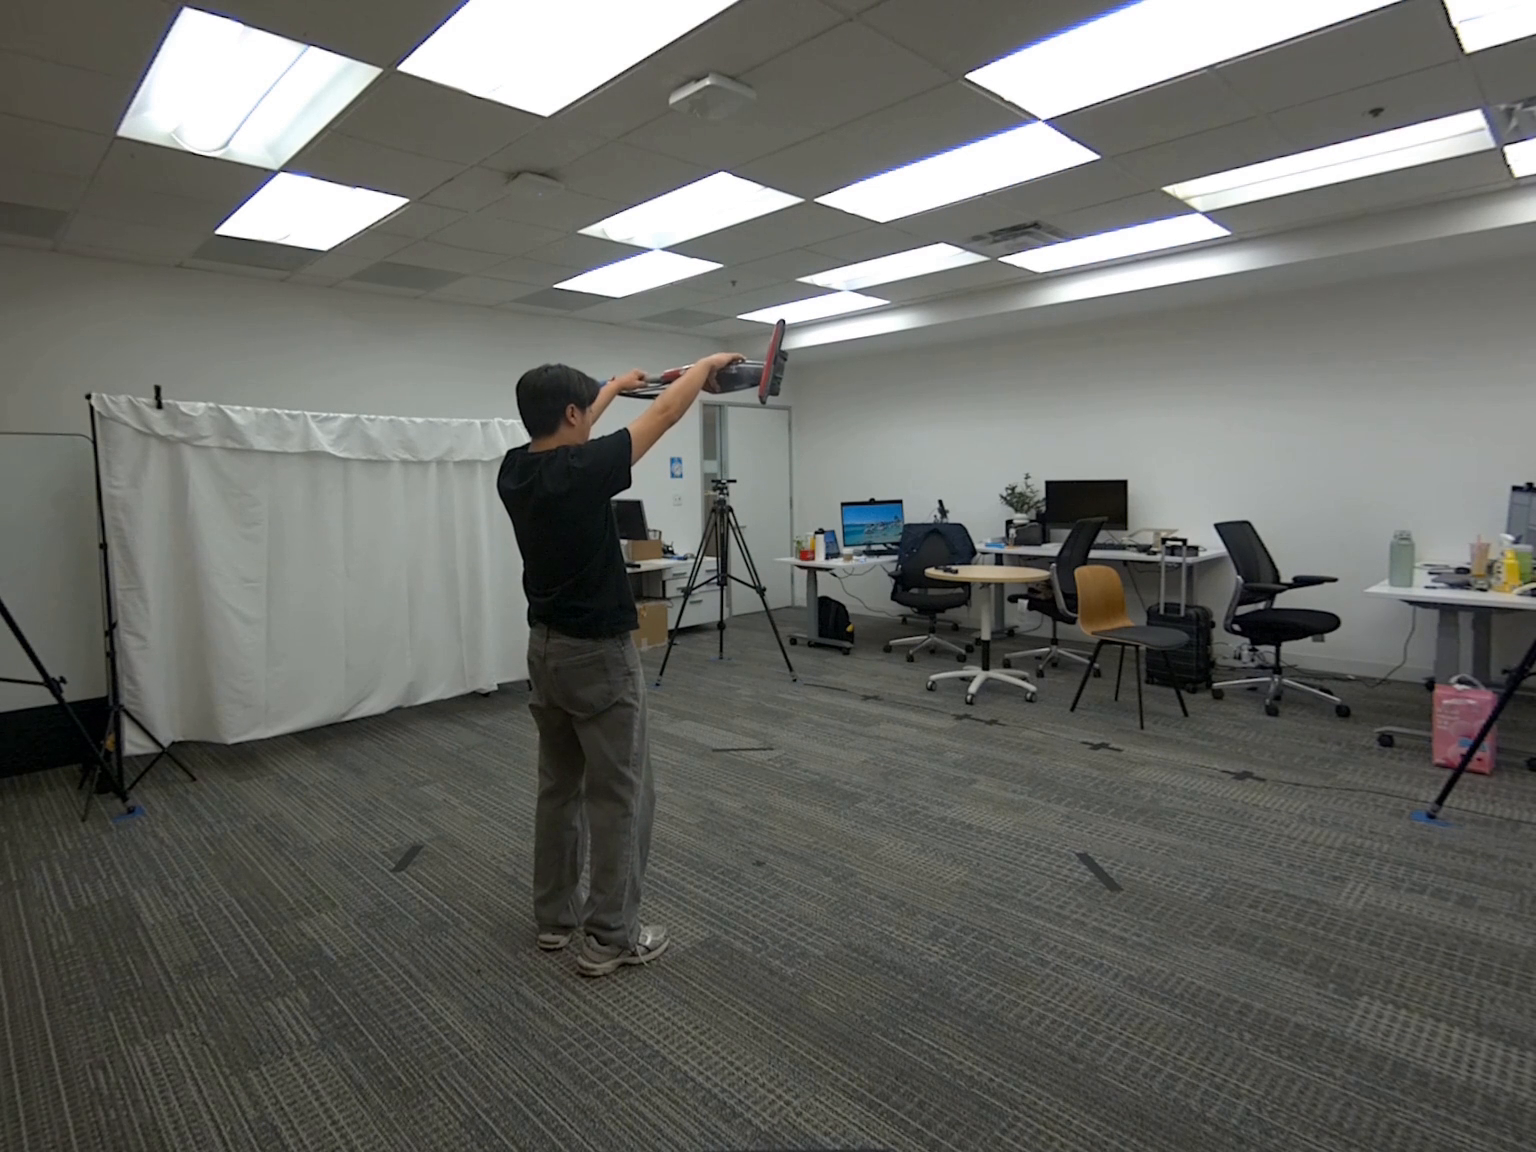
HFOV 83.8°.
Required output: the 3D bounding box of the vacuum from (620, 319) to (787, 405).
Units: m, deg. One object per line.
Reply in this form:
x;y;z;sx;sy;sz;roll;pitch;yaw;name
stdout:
-0.334;-0.663;2.923;0.139;0.254;1.082;23;-11;-40;vacuum
